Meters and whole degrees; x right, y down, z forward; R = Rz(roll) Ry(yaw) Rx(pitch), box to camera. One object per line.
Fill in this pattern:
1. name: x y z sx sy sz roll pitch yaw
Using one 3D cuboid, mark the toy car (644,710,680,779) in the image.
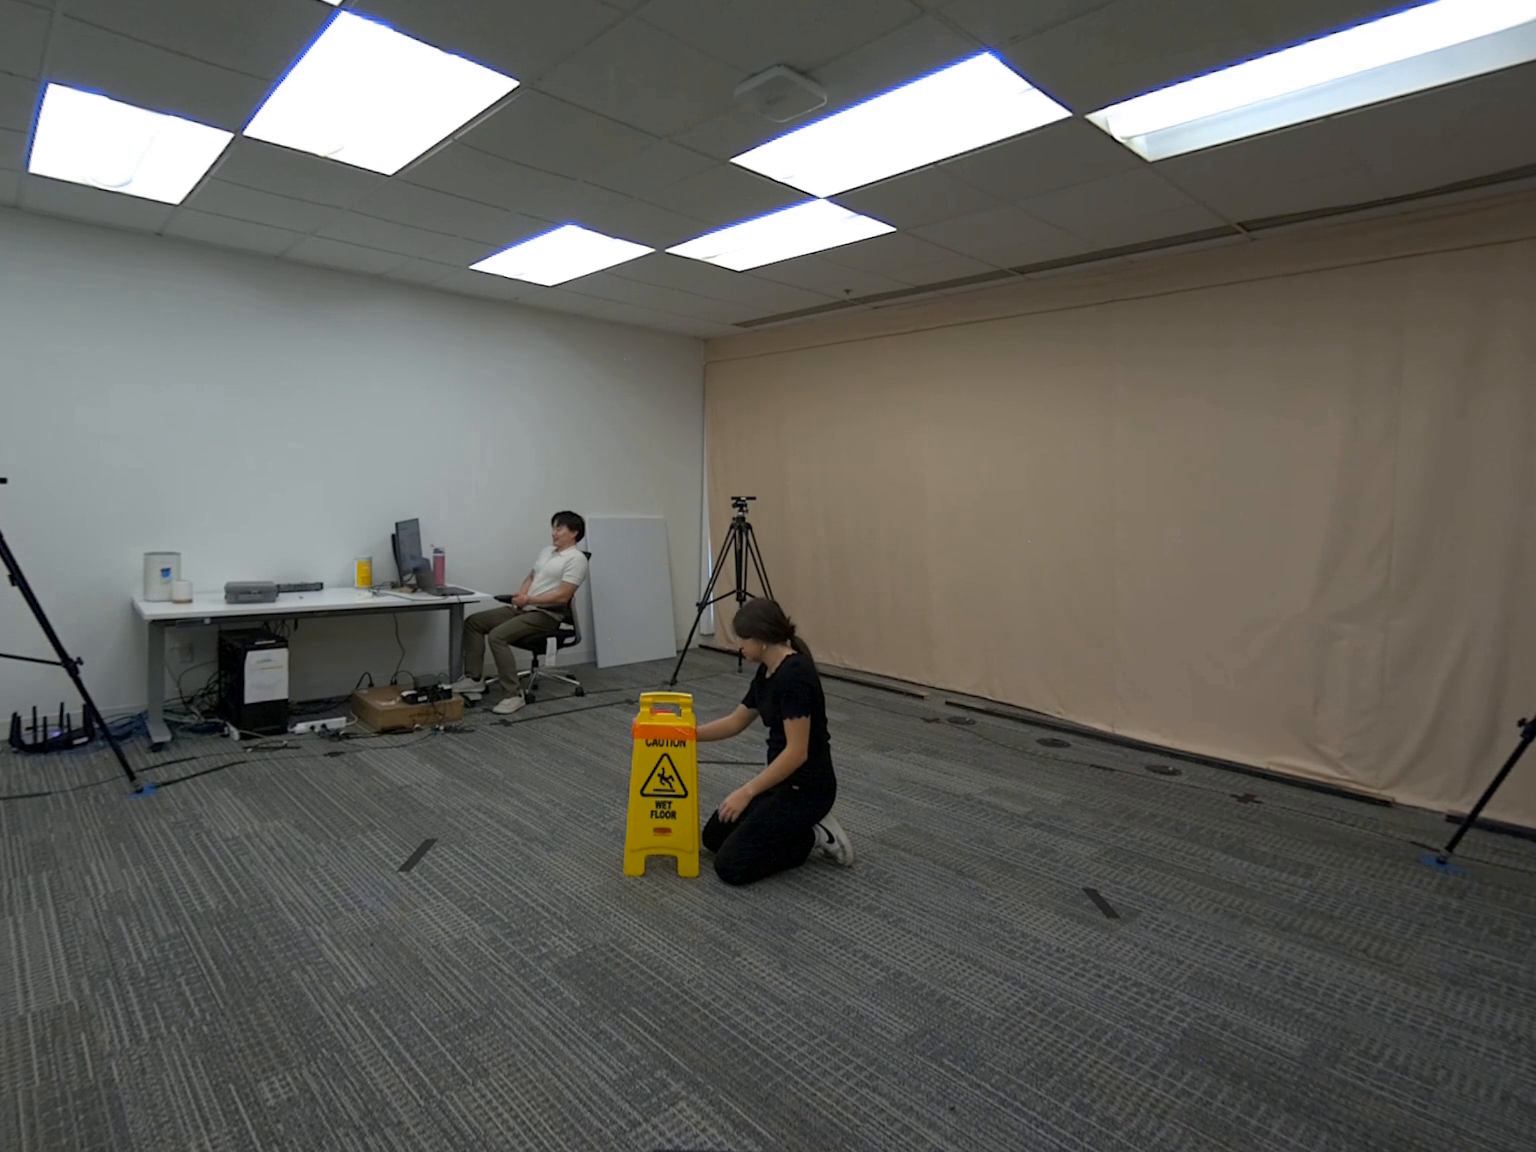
1. toy car: -0.410 0.649 3.264 0.130 0.251 0.085 2 23 -4
